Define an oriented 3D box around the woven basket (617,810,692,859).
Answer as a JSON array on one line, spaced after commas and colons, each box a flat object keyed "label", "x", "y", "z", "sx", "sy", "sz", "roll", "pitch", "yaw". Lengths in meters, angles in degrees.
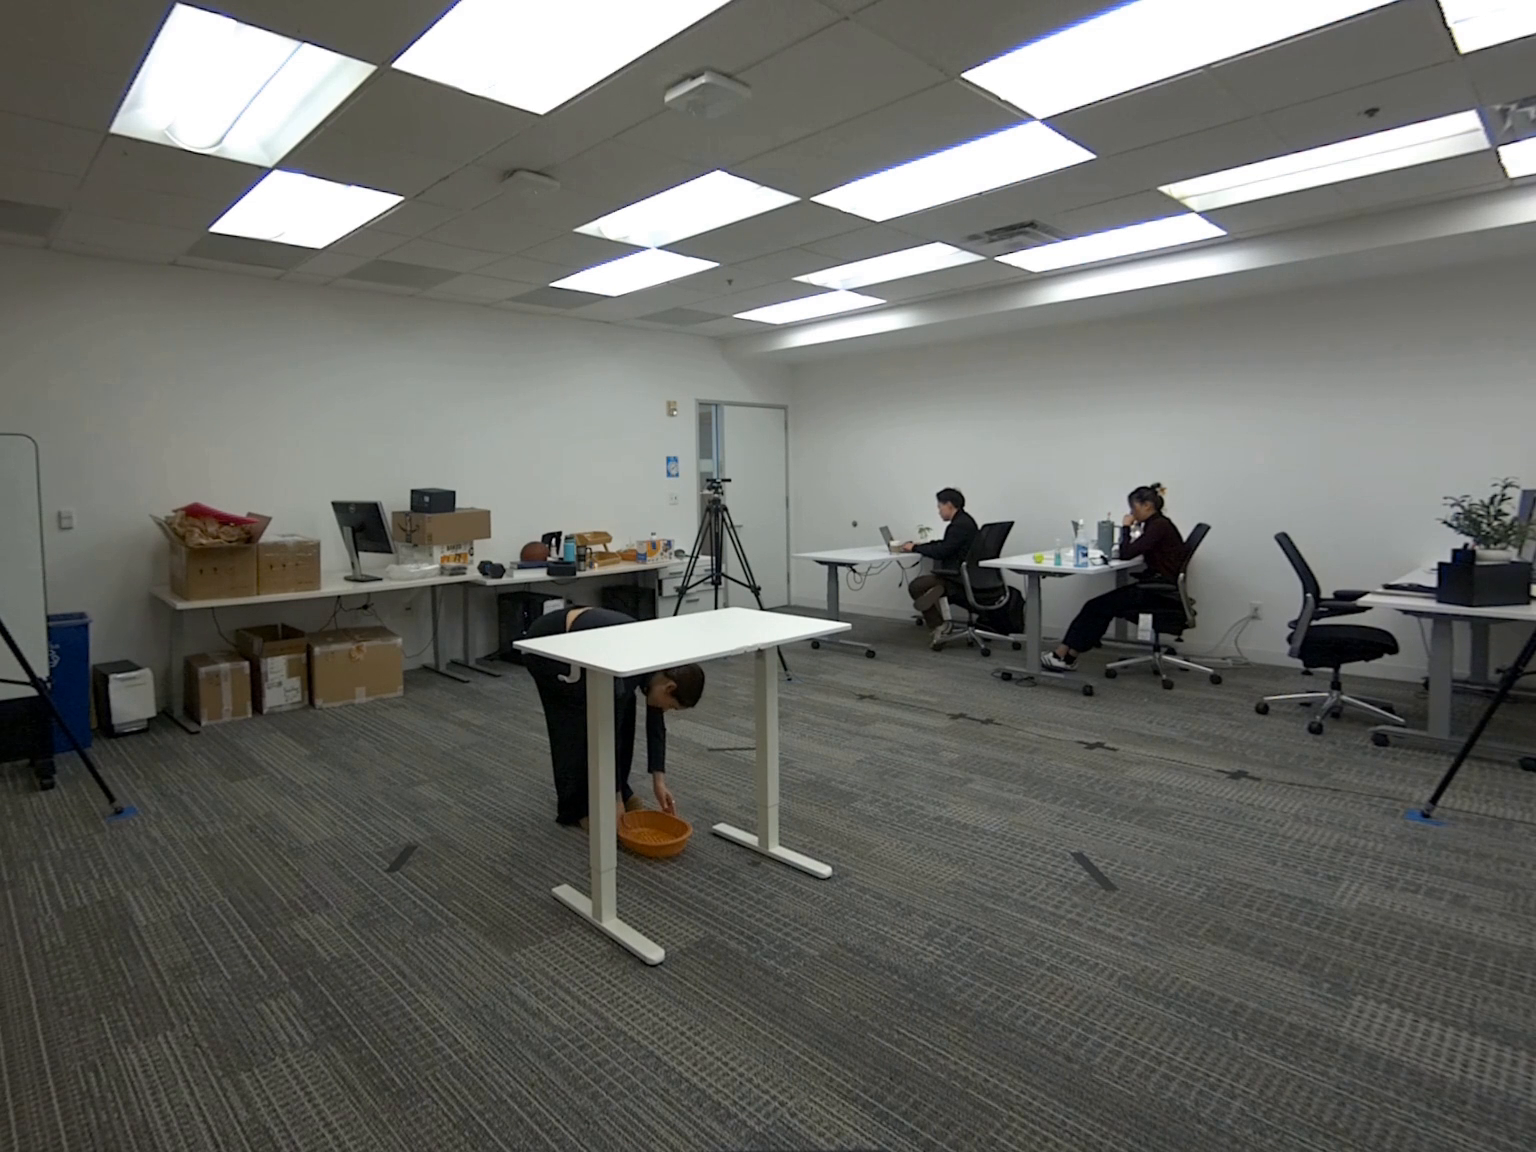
[{"label": "woven basket", "x": -0.444, "y": 0.986, "z": 3.282, "sx": 0.246, "sy": 0.073, "sz": 0.361, "roll": -8, "pitch": 9, "yaw": -43}]
